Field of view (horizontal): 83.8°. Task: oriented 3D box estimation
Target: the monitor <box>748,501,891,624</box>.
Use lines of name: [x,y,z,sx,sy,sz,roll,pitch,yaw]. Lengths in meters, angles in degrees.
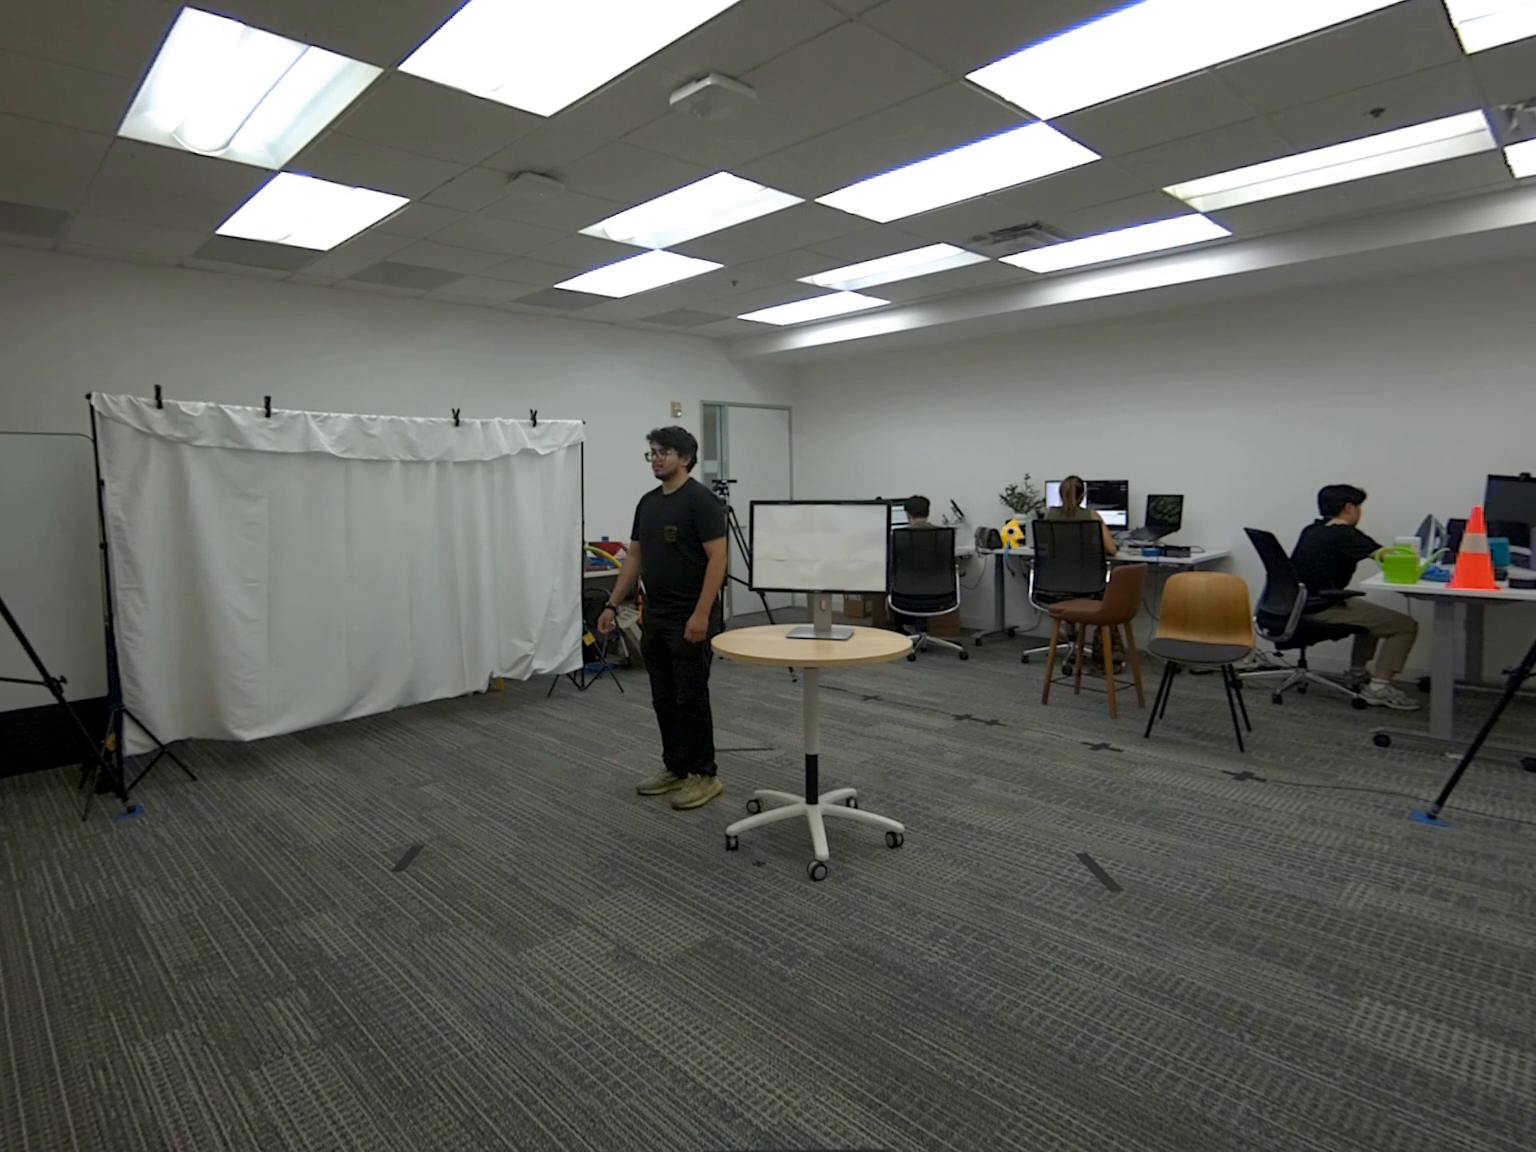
monitor: [0.214,-0.030,3.396,0.574,0.554,0.207,1,1,17]
